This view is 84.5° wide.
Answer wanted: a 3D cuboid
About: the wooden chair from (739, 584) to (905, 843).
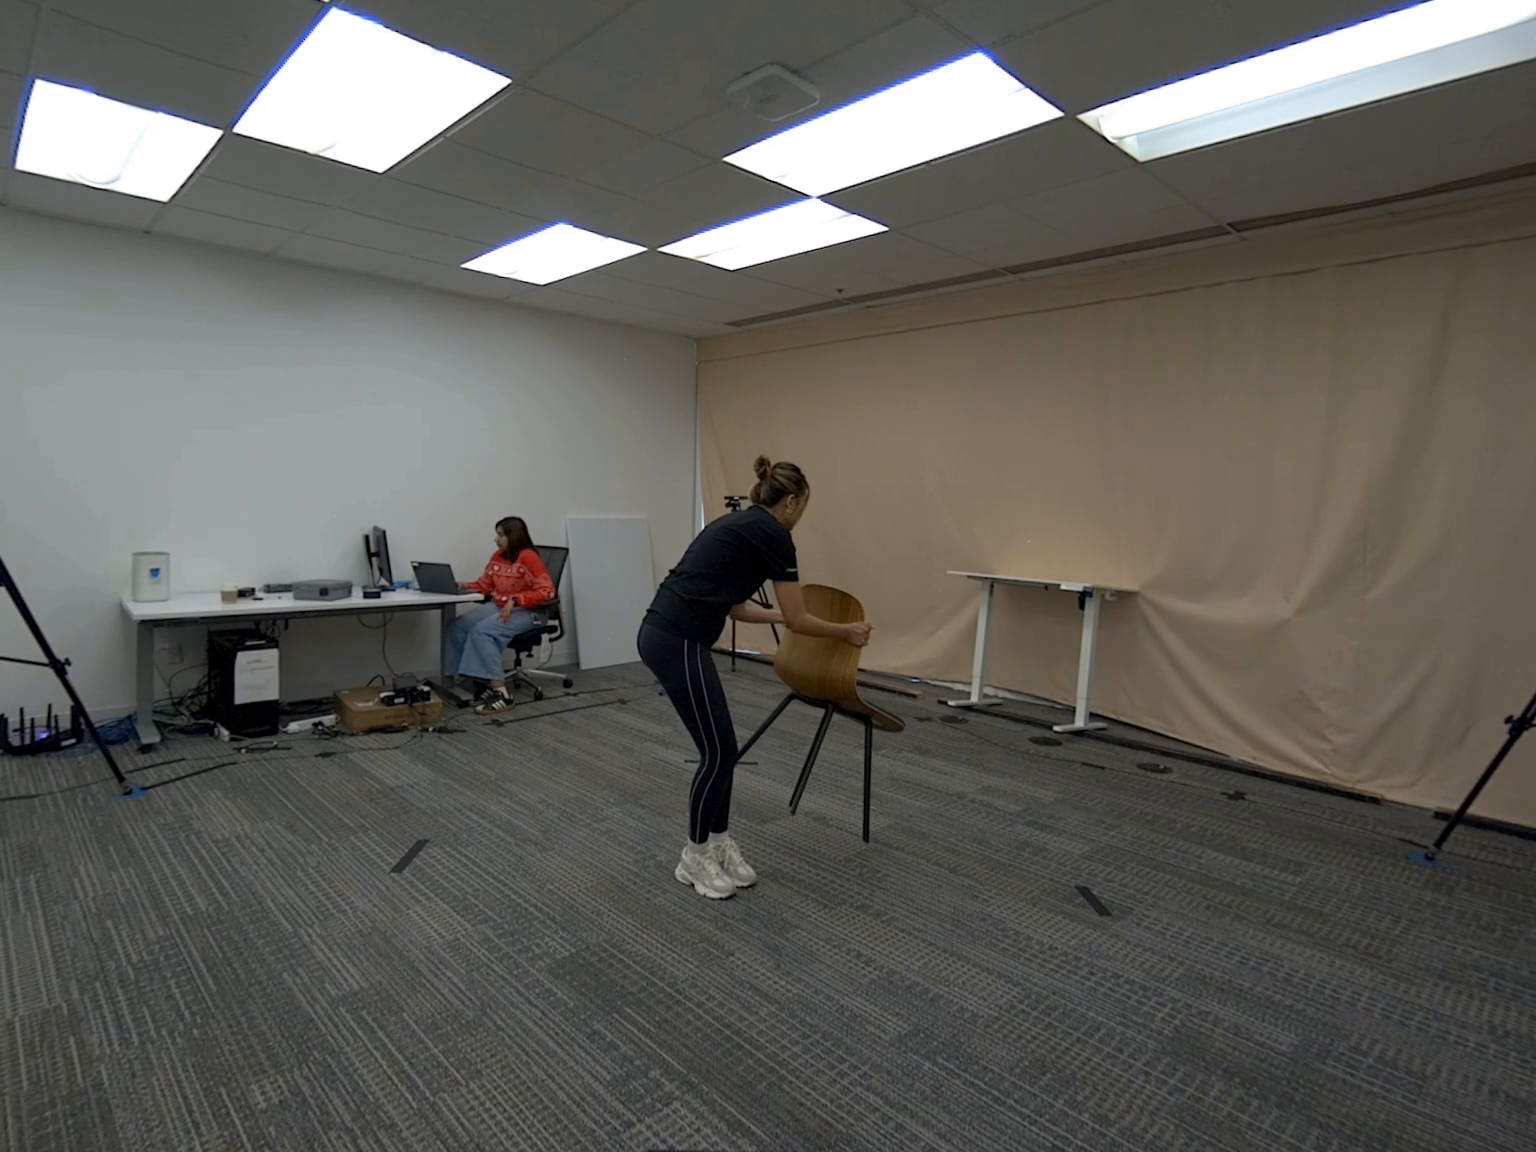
[{"bbox_3d":[0.243,0.532,3.369,0.507,0.881,0.490,27,-13,-38],"label":"wooden chair"}]
